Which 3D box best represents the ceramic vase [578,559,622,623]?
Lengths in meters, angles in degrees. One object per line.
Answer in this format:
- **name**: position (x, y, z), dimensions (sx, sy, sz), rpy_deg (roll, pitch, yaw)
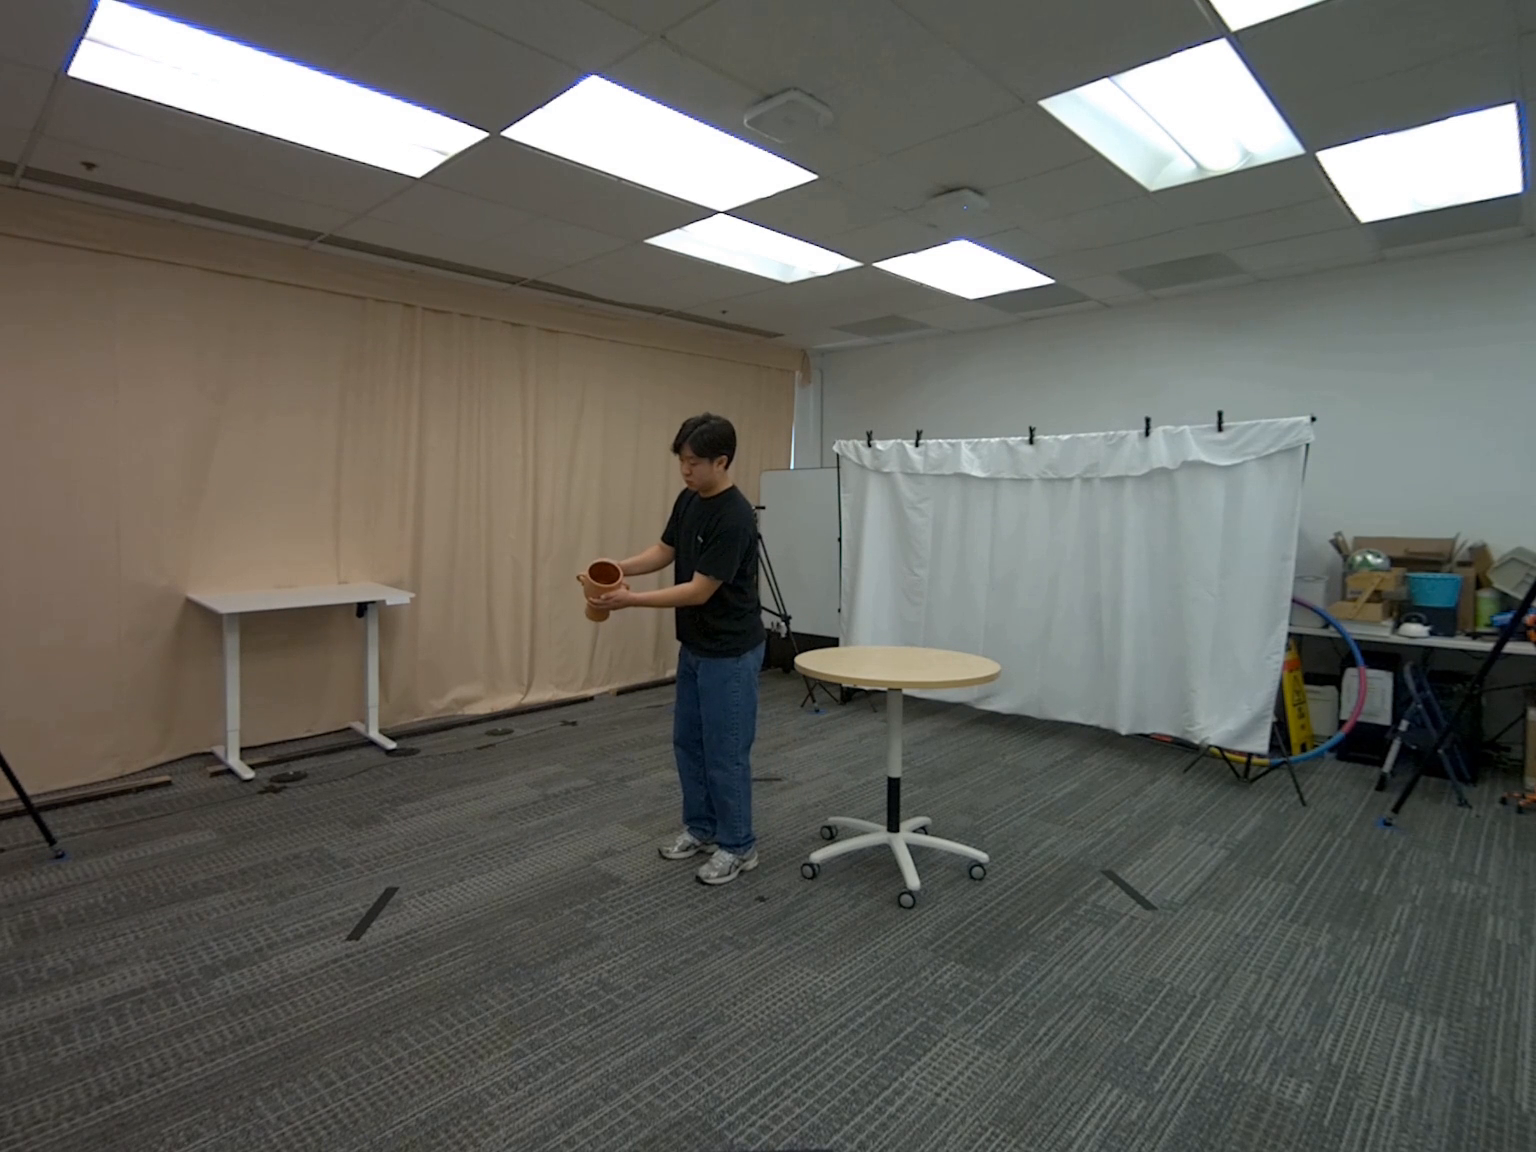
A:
- **ceramic vase**: position (-0.619, 0.065, 3.143), dimensions (0.163, 0.218, 0.132), rpy_deg (40, 47, 21)
